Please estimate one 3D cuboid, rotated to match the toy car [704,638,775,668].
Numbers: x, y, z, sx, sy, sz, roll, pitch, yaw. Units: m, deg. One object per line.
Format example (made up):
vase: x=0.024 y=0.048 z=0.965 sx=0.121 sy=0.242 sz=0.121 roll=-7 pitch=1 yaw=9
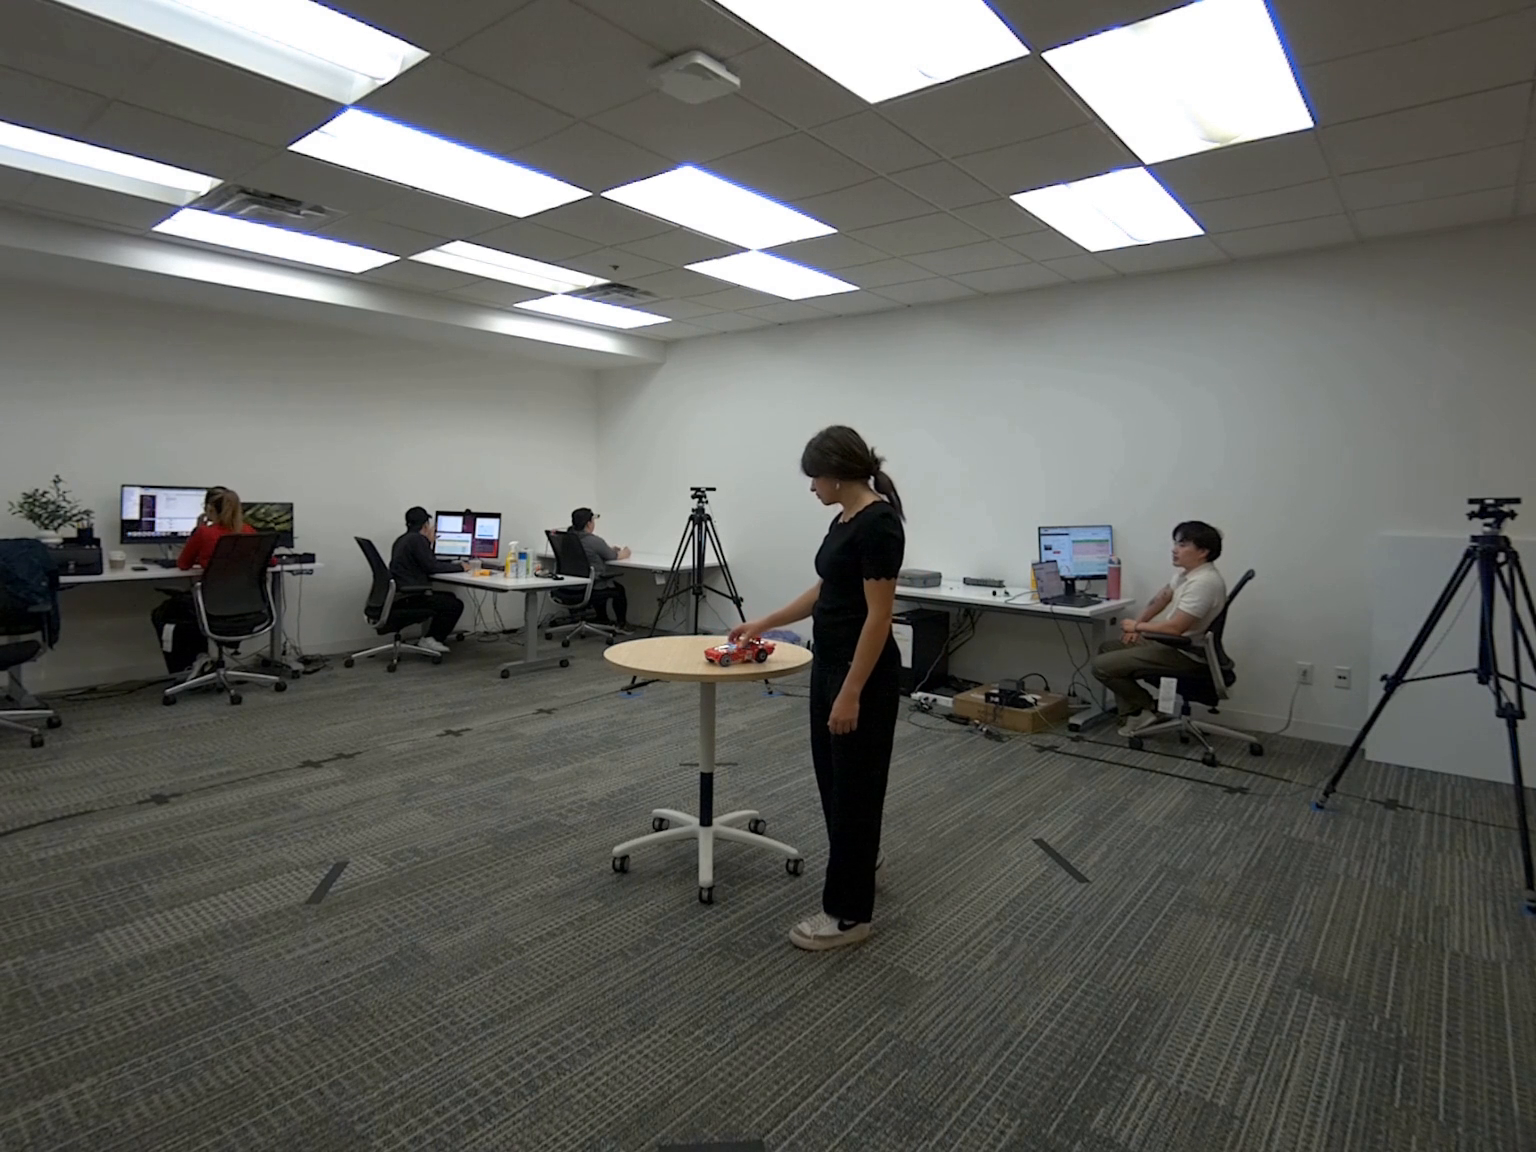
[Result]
toy car: x=-0.097 y=0.264 z=2.972 sx=0.250 sy=0.082 sz=0.134 roll=-16 pitch=12 yaw=-28
